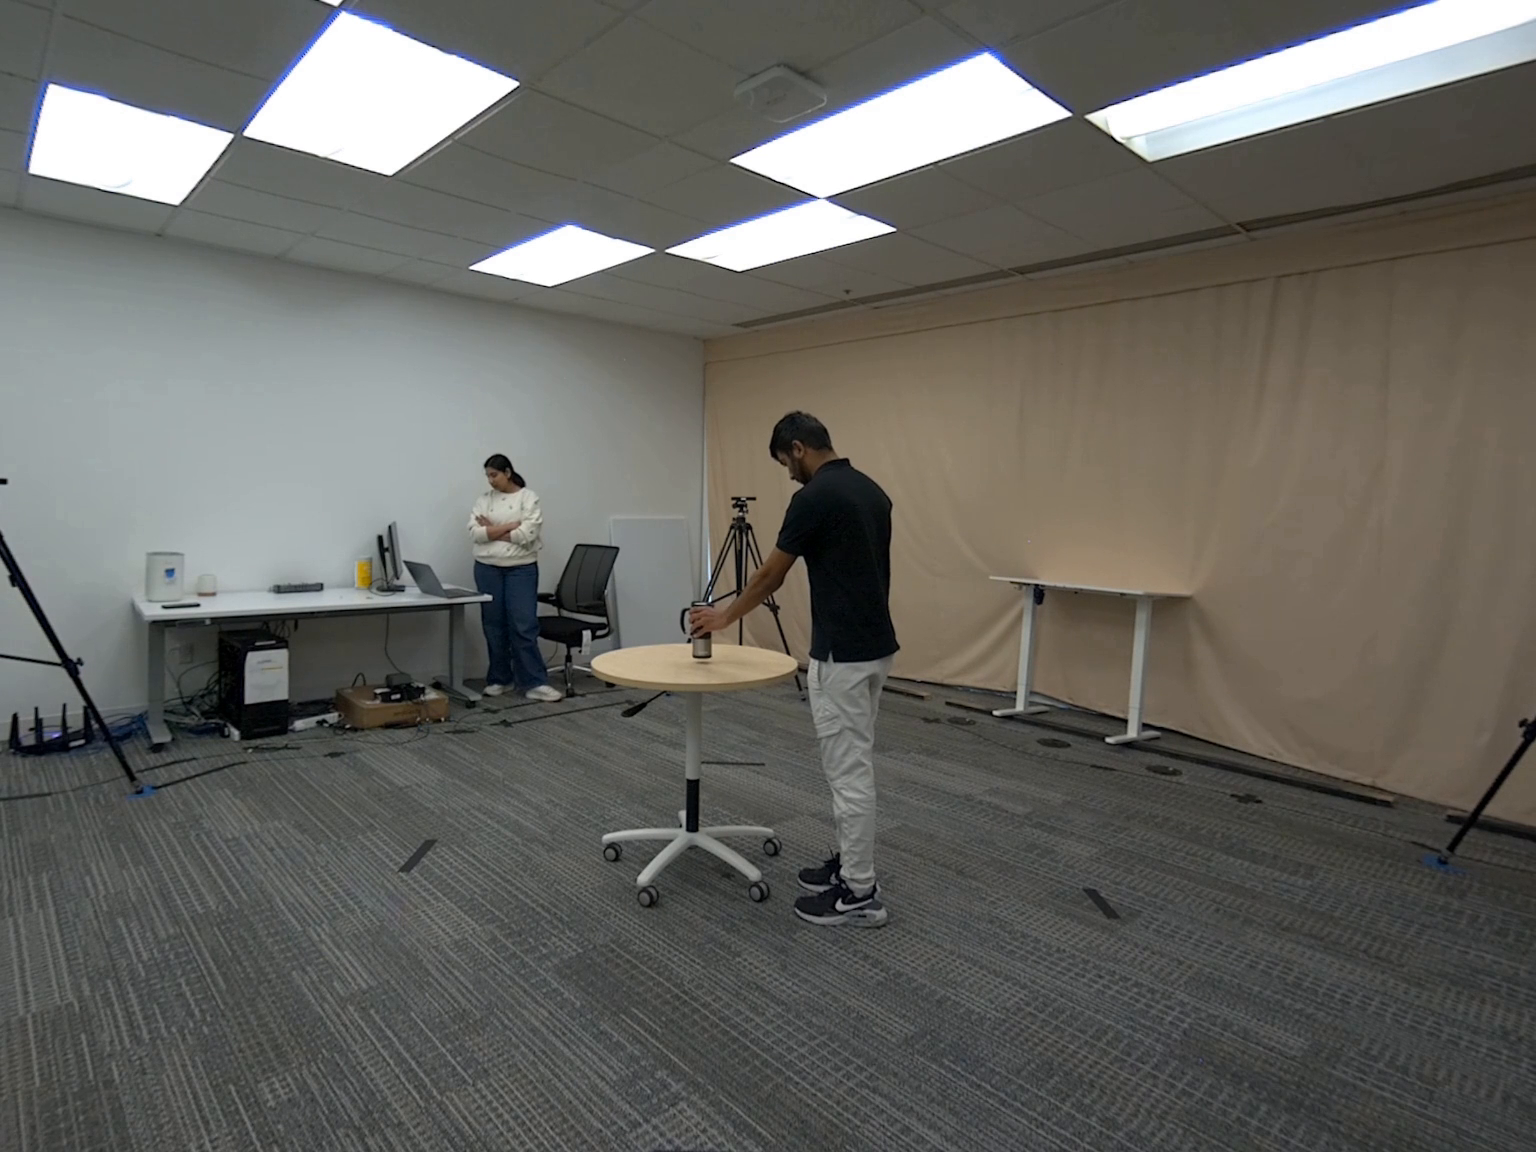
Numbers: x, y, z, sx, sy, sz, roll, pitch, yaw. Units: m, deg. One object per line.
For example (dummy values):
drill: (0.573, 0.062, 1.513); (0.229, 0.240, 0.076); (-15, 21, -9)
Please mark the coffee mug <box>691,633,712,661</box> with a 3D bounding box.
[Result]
coffee mug: (-0.256, 0.201, 3.109); (0.123, 0.202, 0.087); (5, 5, 15)
